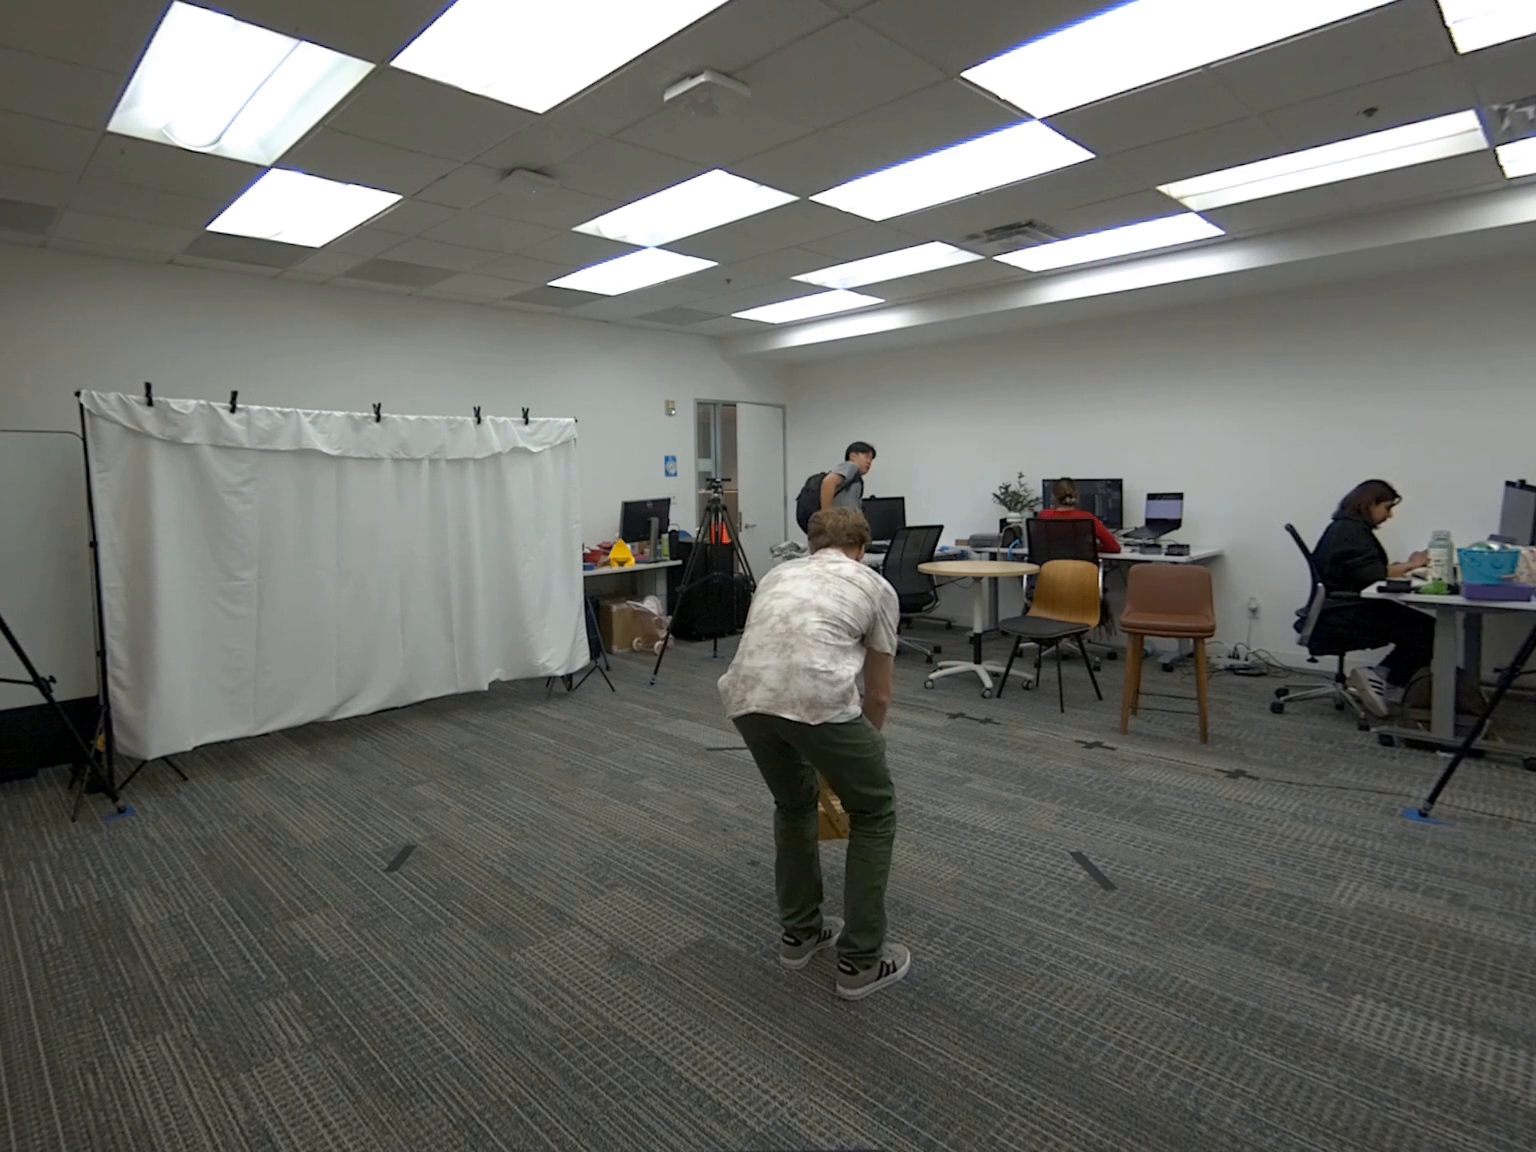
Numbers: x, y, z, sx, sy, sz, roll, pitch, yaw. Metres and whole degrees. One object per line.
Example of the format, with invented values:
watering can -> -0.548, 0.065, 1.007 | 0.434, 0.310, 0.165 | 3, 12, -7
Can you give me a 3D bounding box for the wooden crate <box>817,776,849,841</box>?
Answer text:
wooden crate -> 0.218, 0.699, 2.896 | 0.301, 0.271, 0.328 | -5, 9, -3
